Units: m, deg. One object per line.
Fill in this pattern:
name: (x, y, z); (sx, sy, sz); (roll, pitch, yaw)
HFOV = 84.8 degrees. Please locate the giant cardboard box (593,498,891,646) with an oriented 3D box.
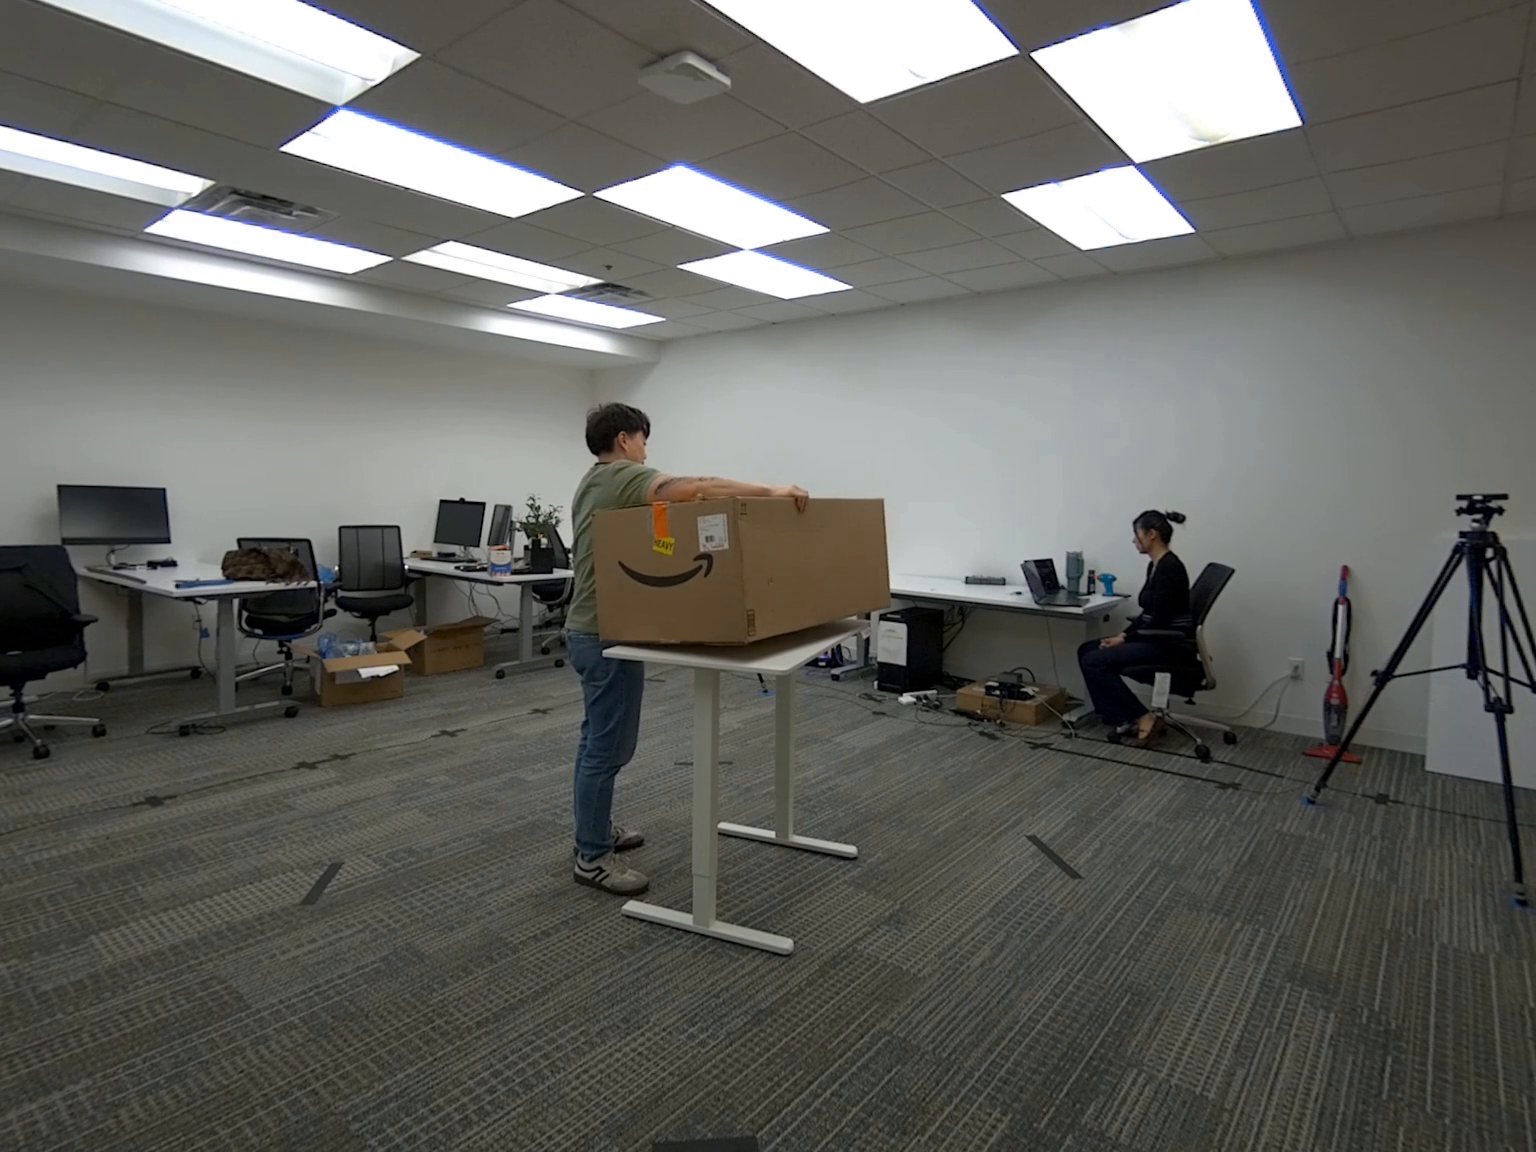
giant cardboard box: (-0.058, -0.045, 3.004); (0.593, 0.426, 0.999); (-4, 2, 32)
